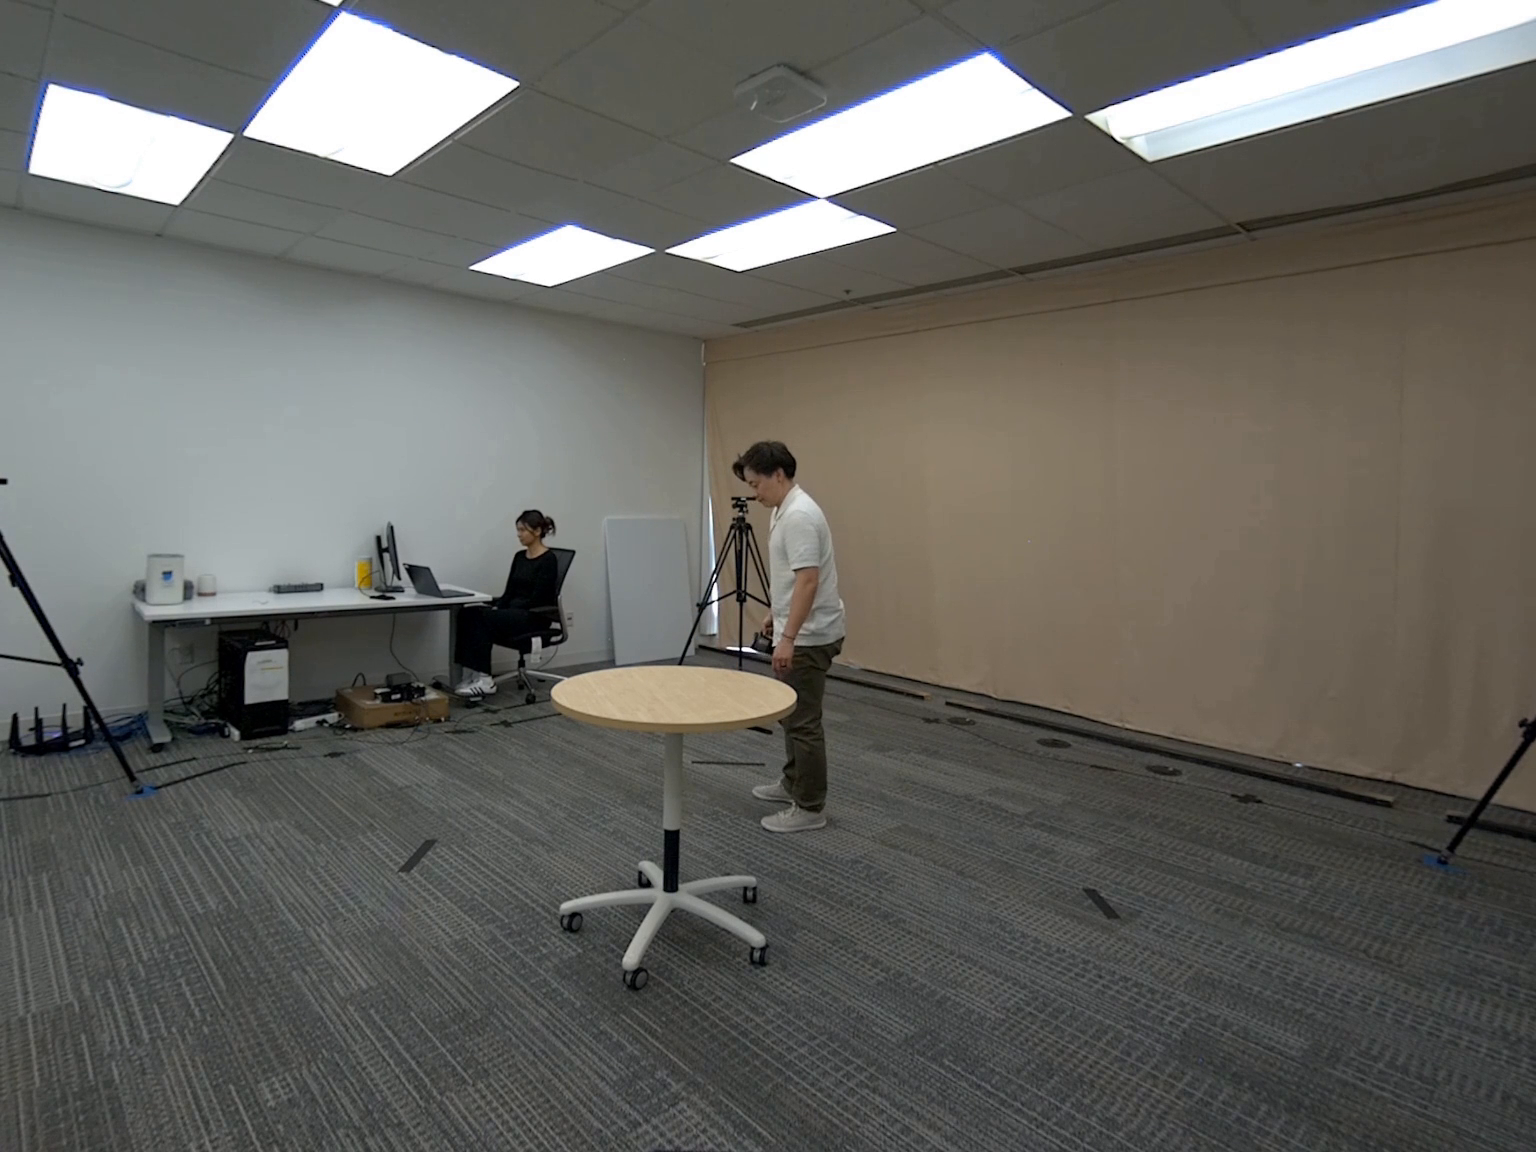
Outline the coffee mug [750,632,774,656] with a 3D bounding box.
[{"bbox_3d":[0.027,0.320,3.919,0.203,0.120,0.089,16,46,1],"label":"coffee mug"}]
